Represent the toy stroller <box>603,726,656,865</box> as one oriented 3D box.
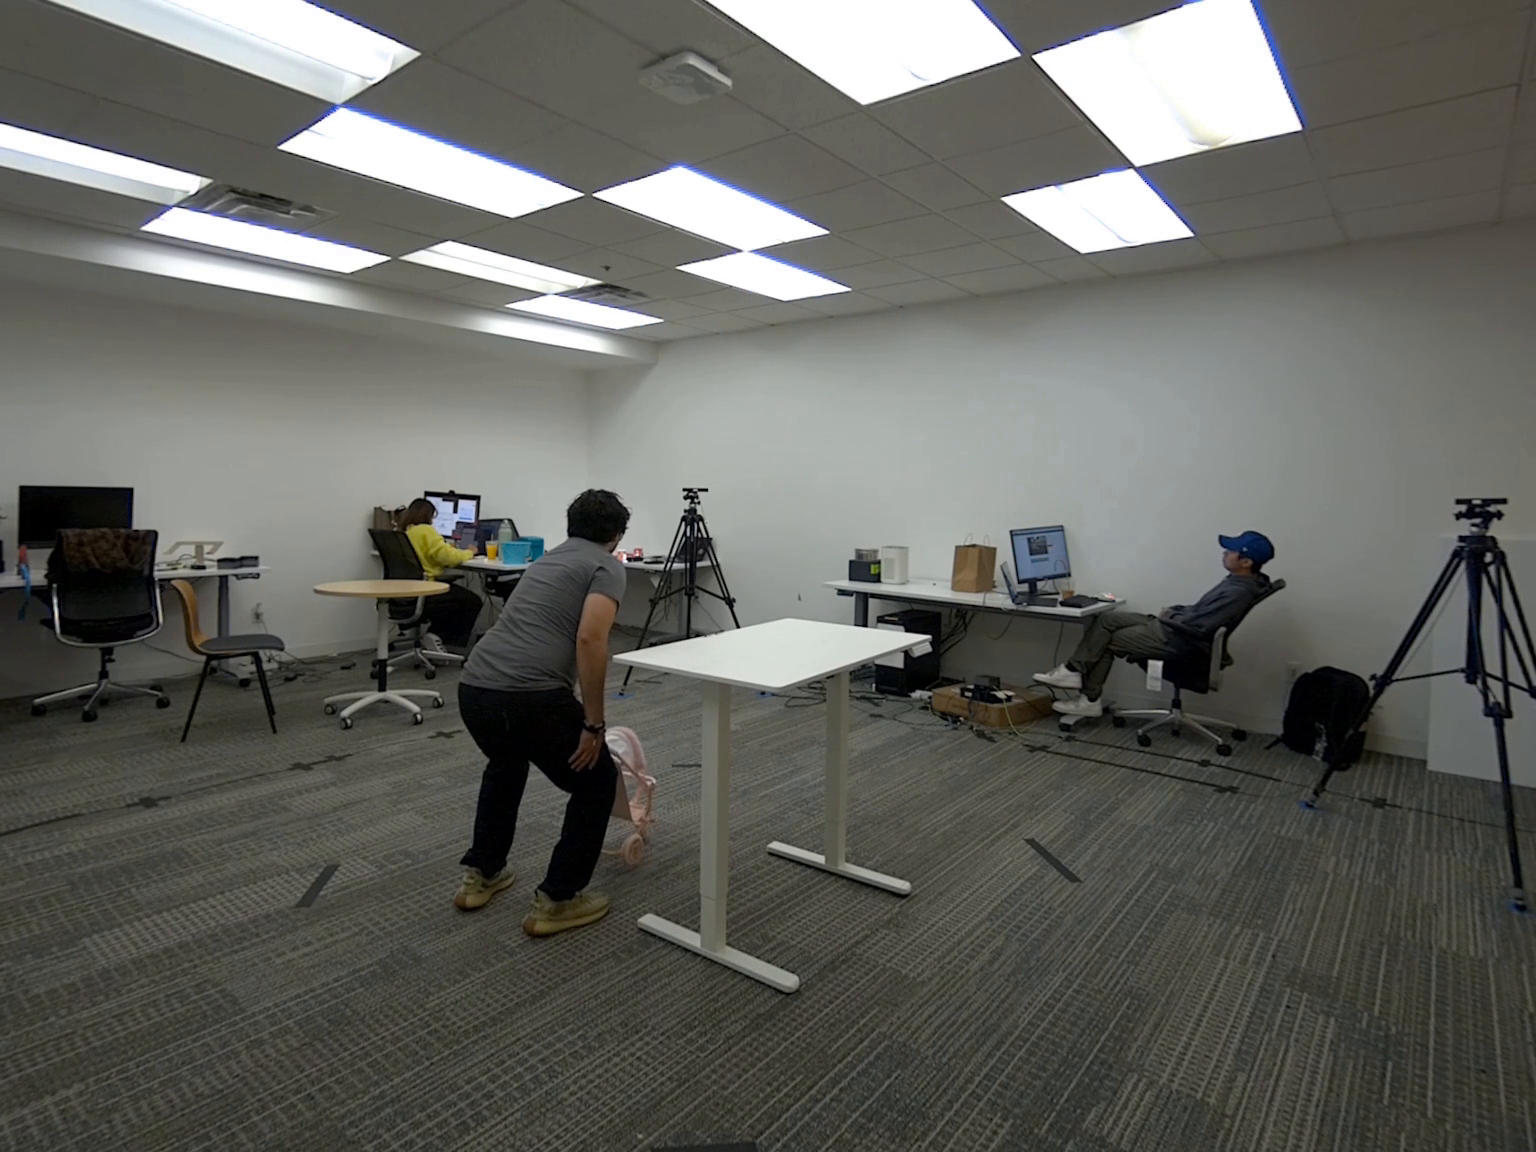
[{"bbox_3d":[-0.576,0.807,3.206,0.290,0.529,0.335,4,13,30],"label":"toy stroller"}]
